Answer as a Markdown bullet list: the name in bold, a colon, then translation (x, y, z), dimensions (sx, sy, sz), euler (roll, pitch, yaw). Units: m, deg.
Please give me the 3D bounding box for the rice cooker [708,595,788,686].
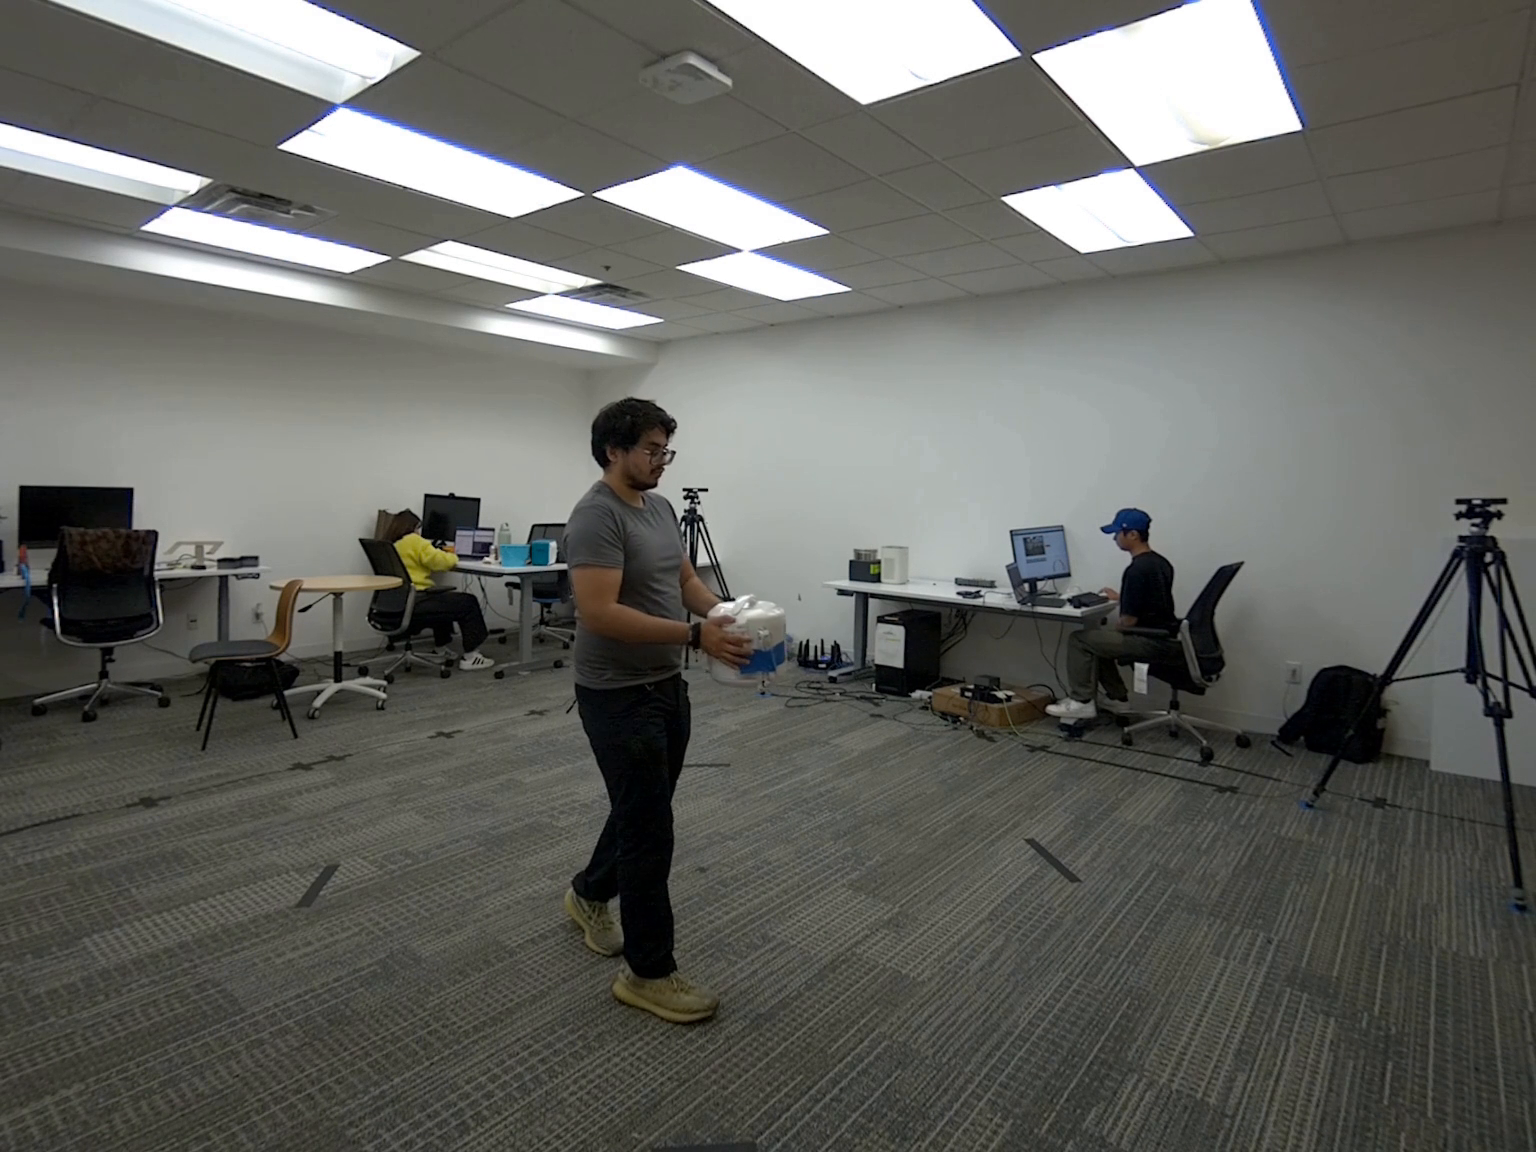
- **rice cooker**: translation (-0.067, 0.168, 2.256), dimensions (0.222, 0.232, 0.217), euler (1, 5, 18)
